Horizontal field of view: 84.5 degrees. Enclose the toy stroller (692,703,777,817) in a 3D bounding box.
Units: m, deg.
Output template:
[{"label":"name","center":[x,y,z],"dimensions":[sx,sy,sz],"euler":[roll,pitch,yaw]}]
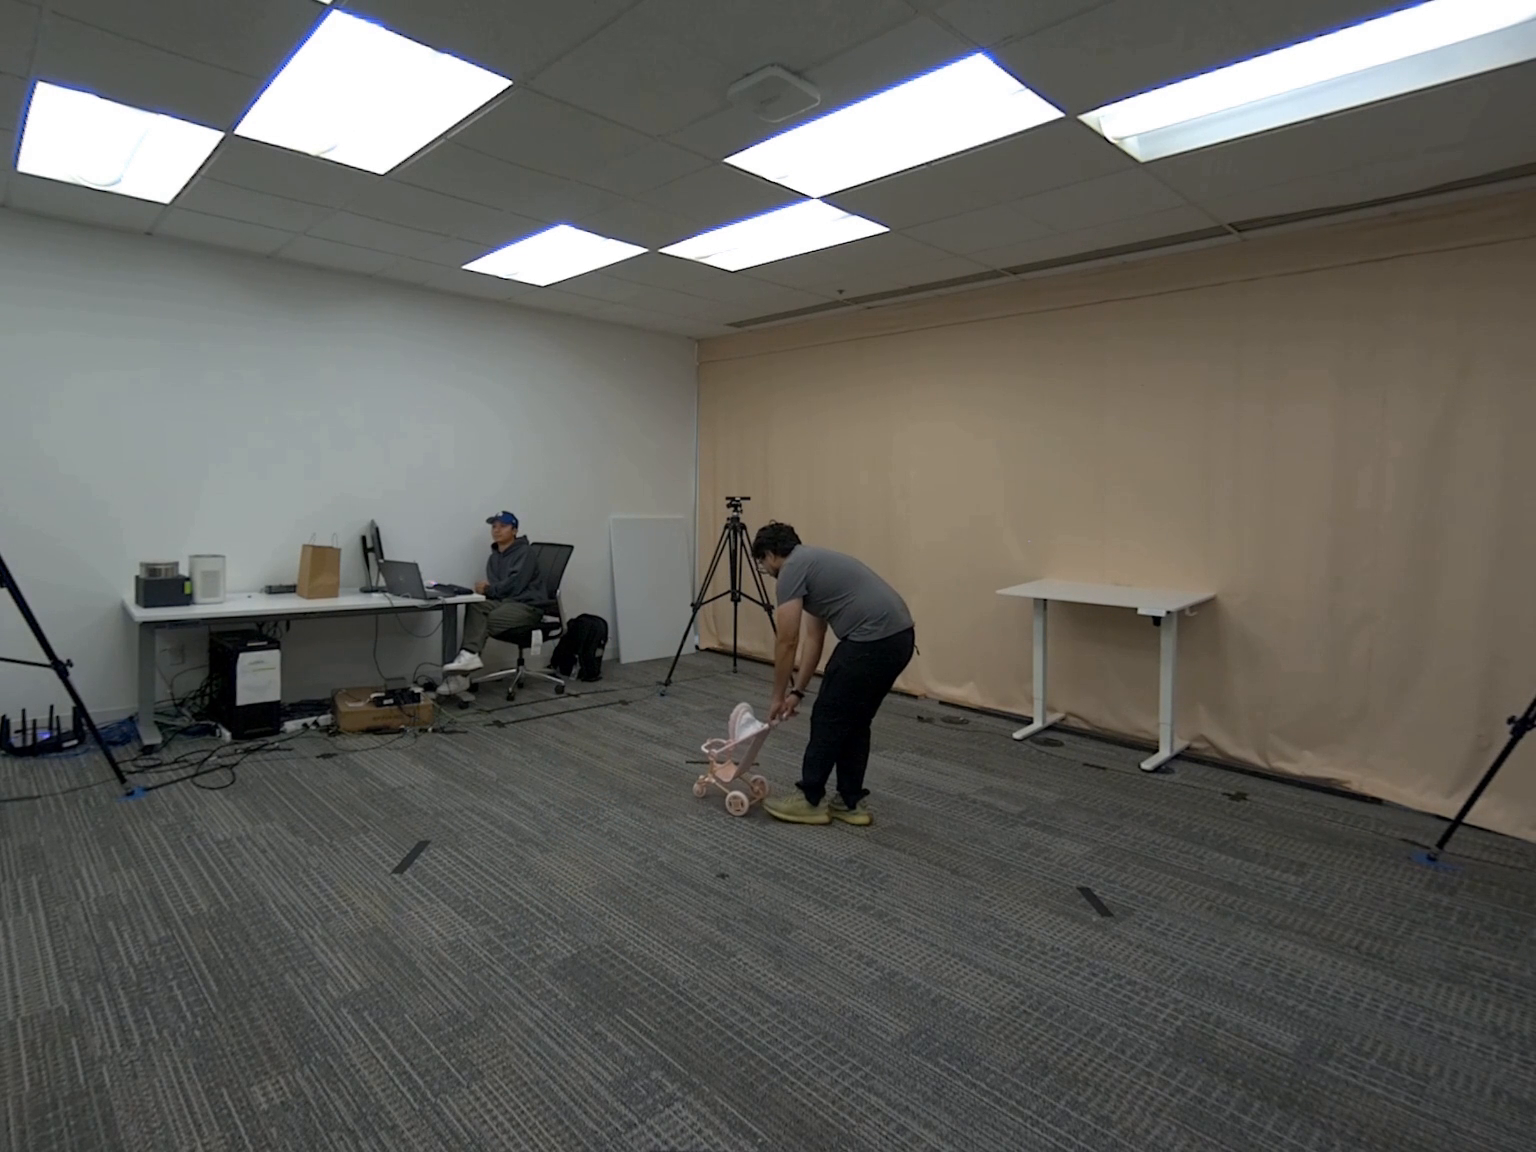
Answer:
[{"label":"toy stroller","center":[-0.151,0.812,3.832],"dimensions":[0.350,0.532,0.276],"euler":[21,11,27]}]
